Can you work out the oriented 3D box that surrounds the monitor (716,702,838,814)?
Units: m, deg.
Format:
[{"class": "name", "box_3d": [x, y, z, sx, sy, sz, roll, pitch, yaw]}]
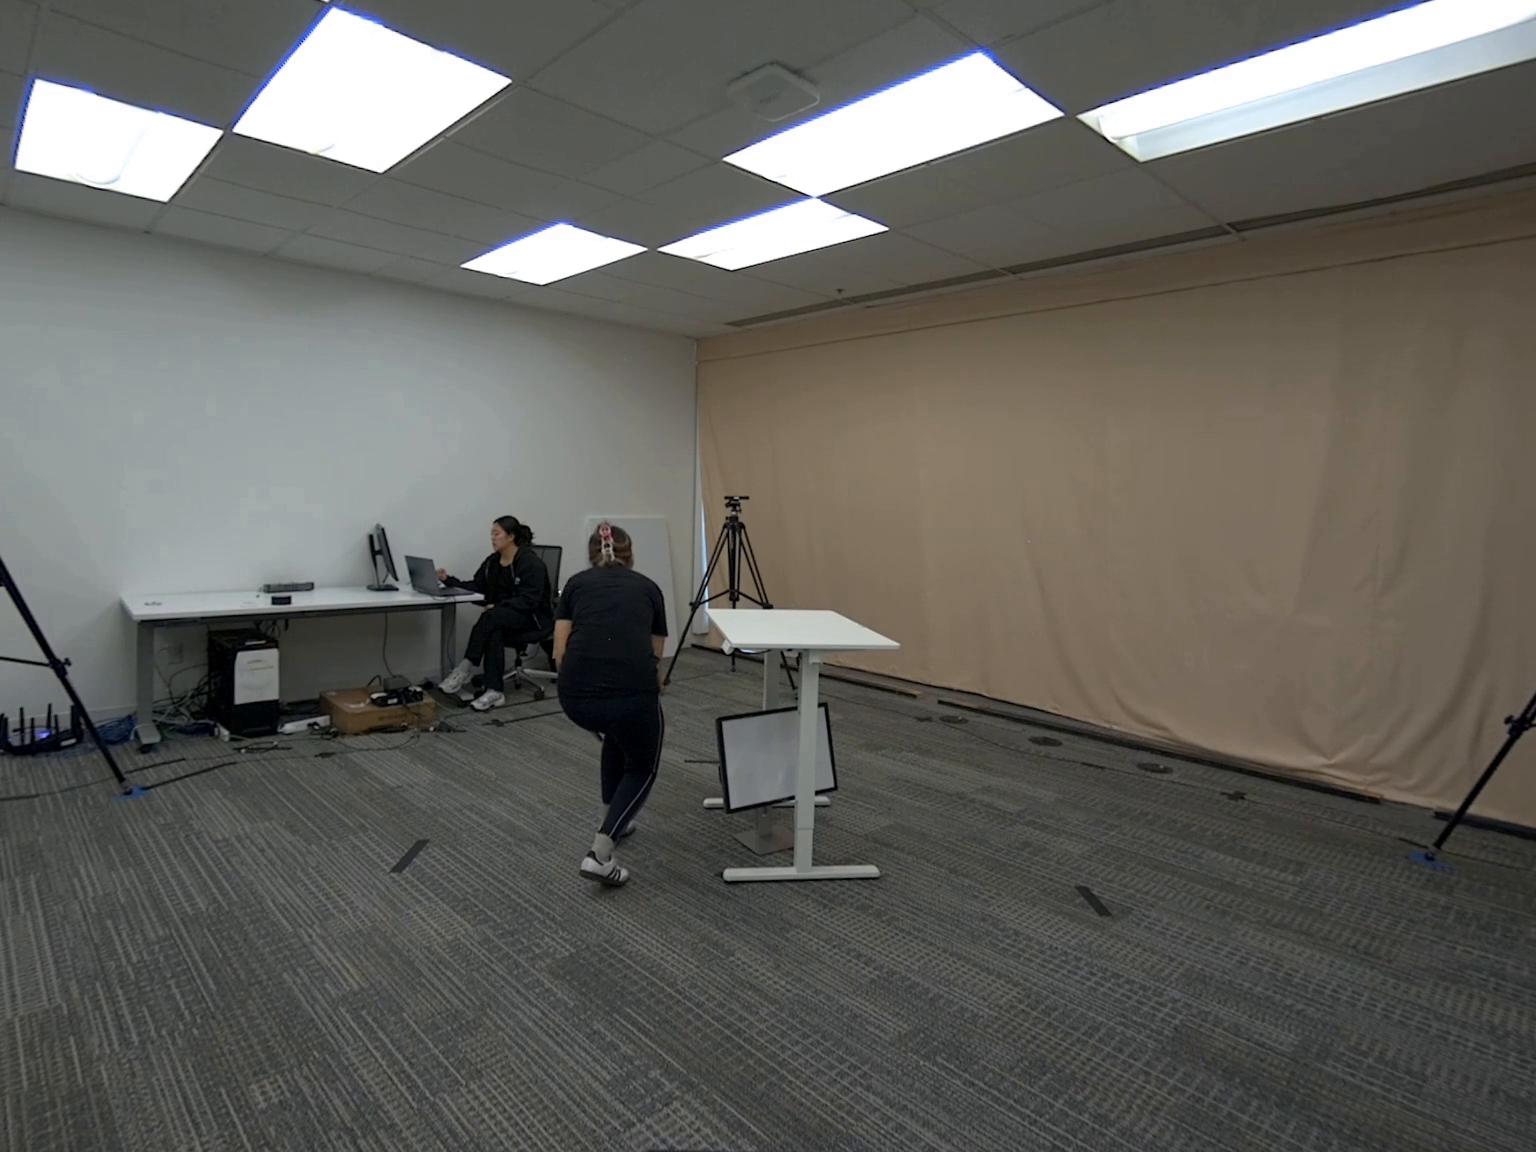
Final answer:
[{"class": "monitor", "box_3d": [0.011, 0.815, 3.414, 0.527, 0.521, 0.192, -2, 6, -37]}]
